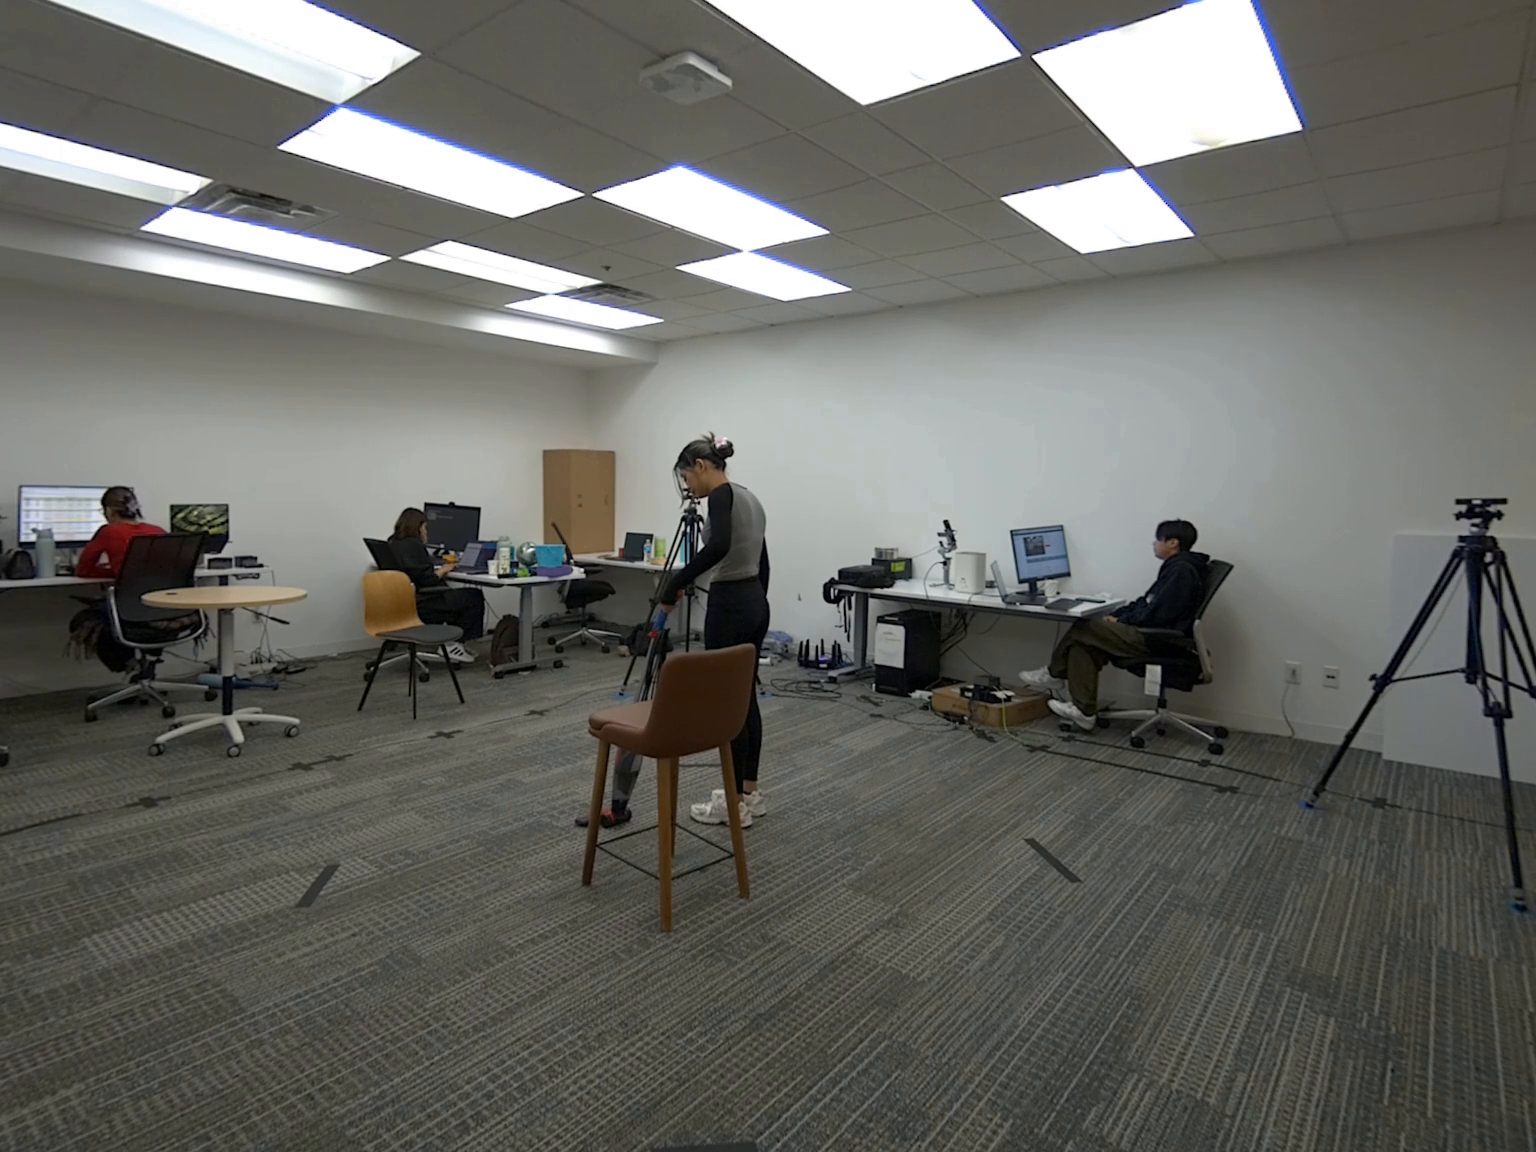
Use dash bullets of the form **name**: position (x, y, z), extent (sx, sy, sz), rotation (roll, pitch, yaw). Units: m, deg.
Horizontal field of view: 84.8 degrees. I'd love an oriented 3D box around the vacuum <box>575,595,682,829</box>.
- **vacuum**: position (-0.524, 0.543, 3.426), extent (0.149, 1.041, 0.245), rotation (28, 16, 33)
